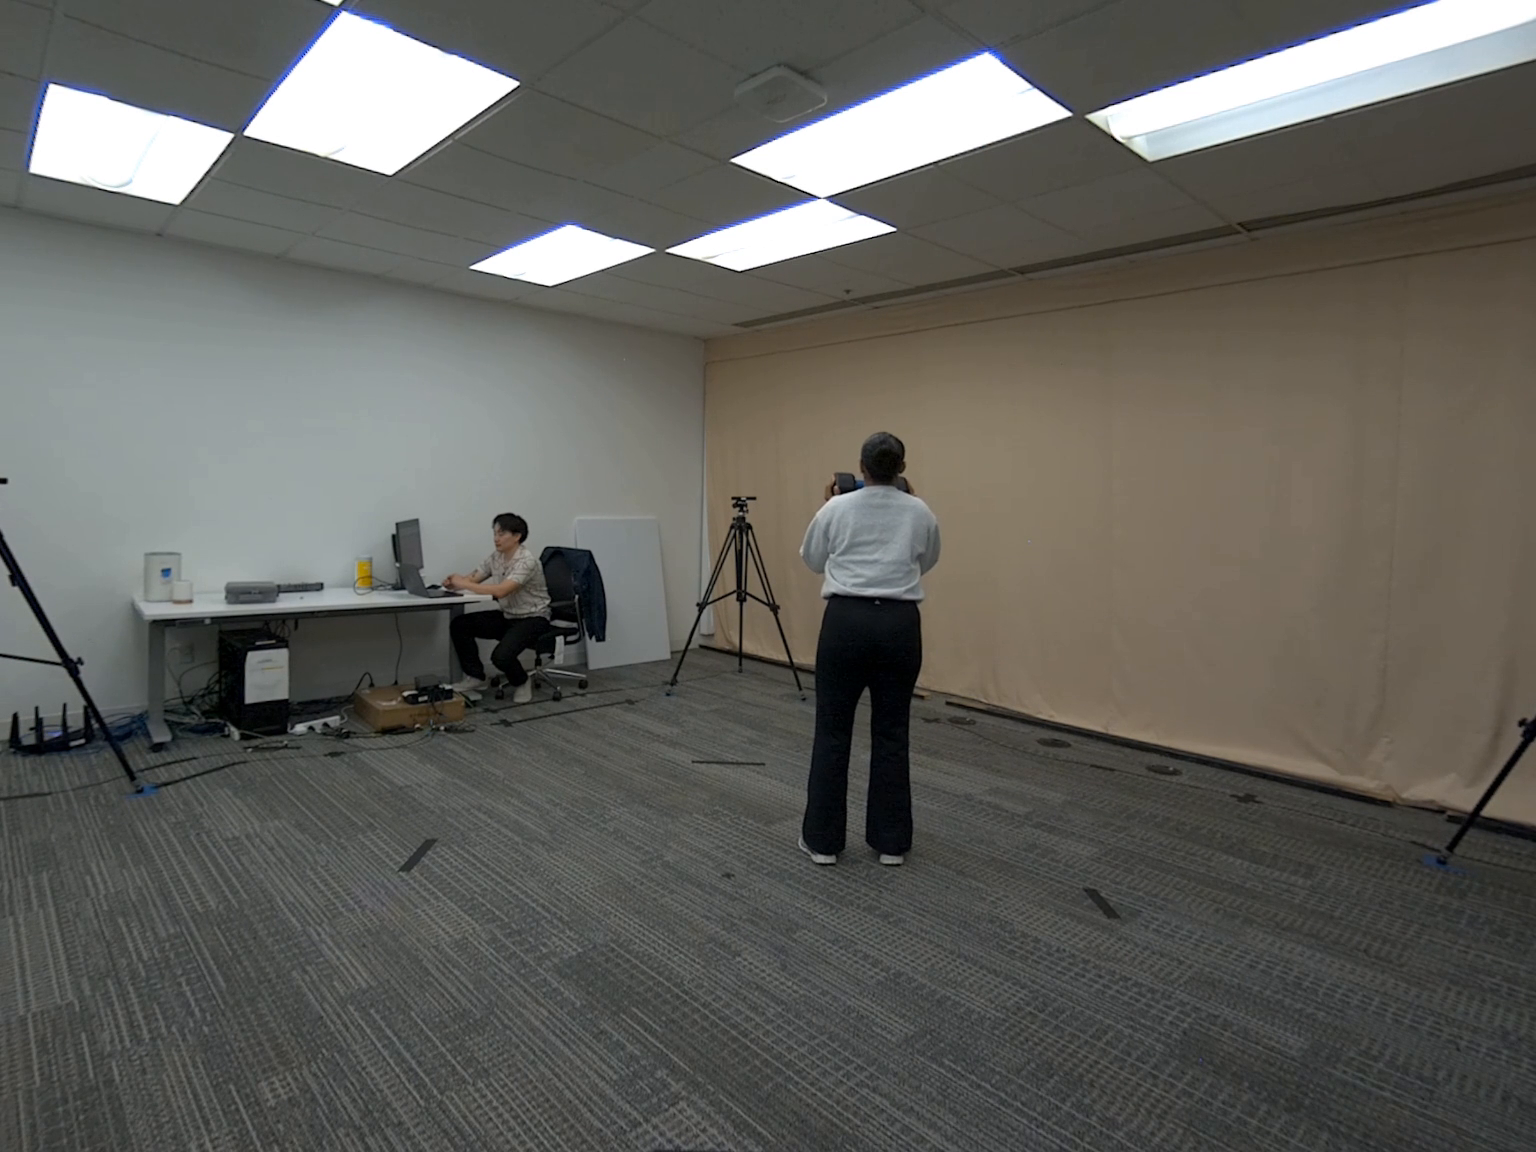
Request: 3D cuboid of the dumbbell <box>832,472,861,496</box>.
[{"bbox_3d":[0.408,-0.343,3.416,0.293,0.120,0.111,4,44,-3],"label":"dumbbell"}]
